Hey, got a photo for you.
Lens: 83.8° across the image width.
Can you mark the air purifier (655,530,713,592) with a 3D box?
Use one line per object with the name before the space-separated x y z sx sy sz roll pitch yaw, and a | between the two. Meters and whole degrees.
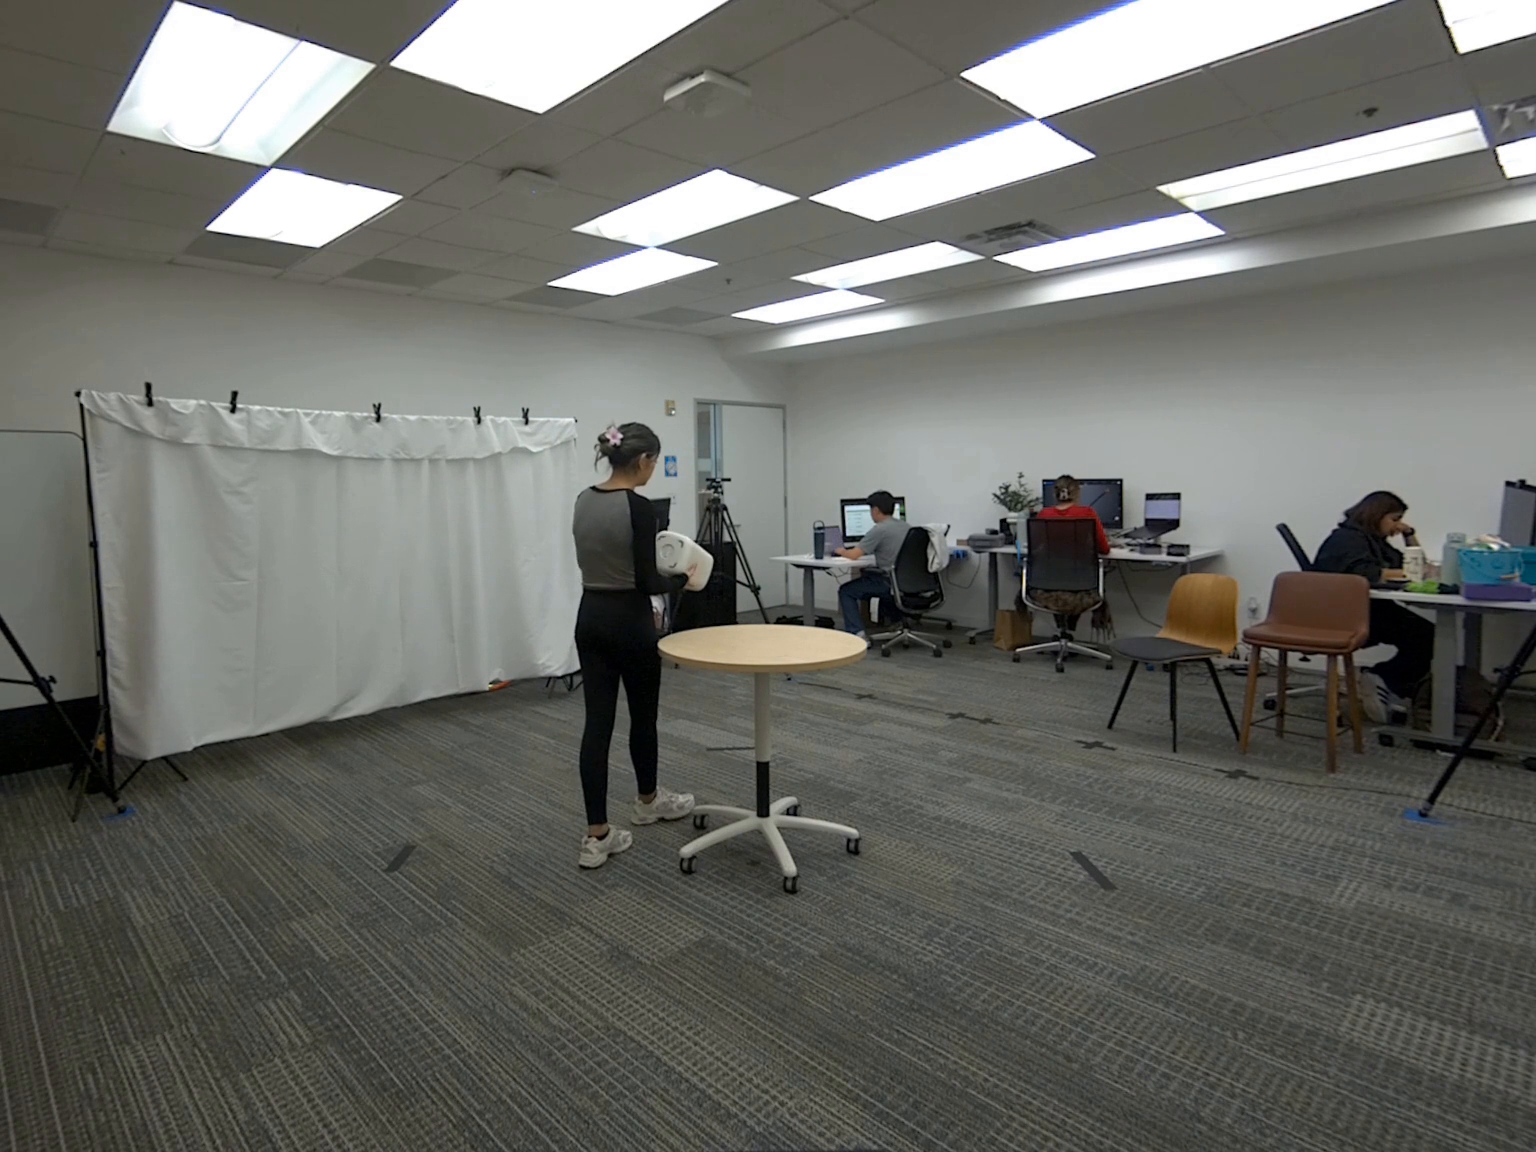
air purifier | -0.355 -0.063 3.442 0.175 0.172 0.257 14 -10 22
